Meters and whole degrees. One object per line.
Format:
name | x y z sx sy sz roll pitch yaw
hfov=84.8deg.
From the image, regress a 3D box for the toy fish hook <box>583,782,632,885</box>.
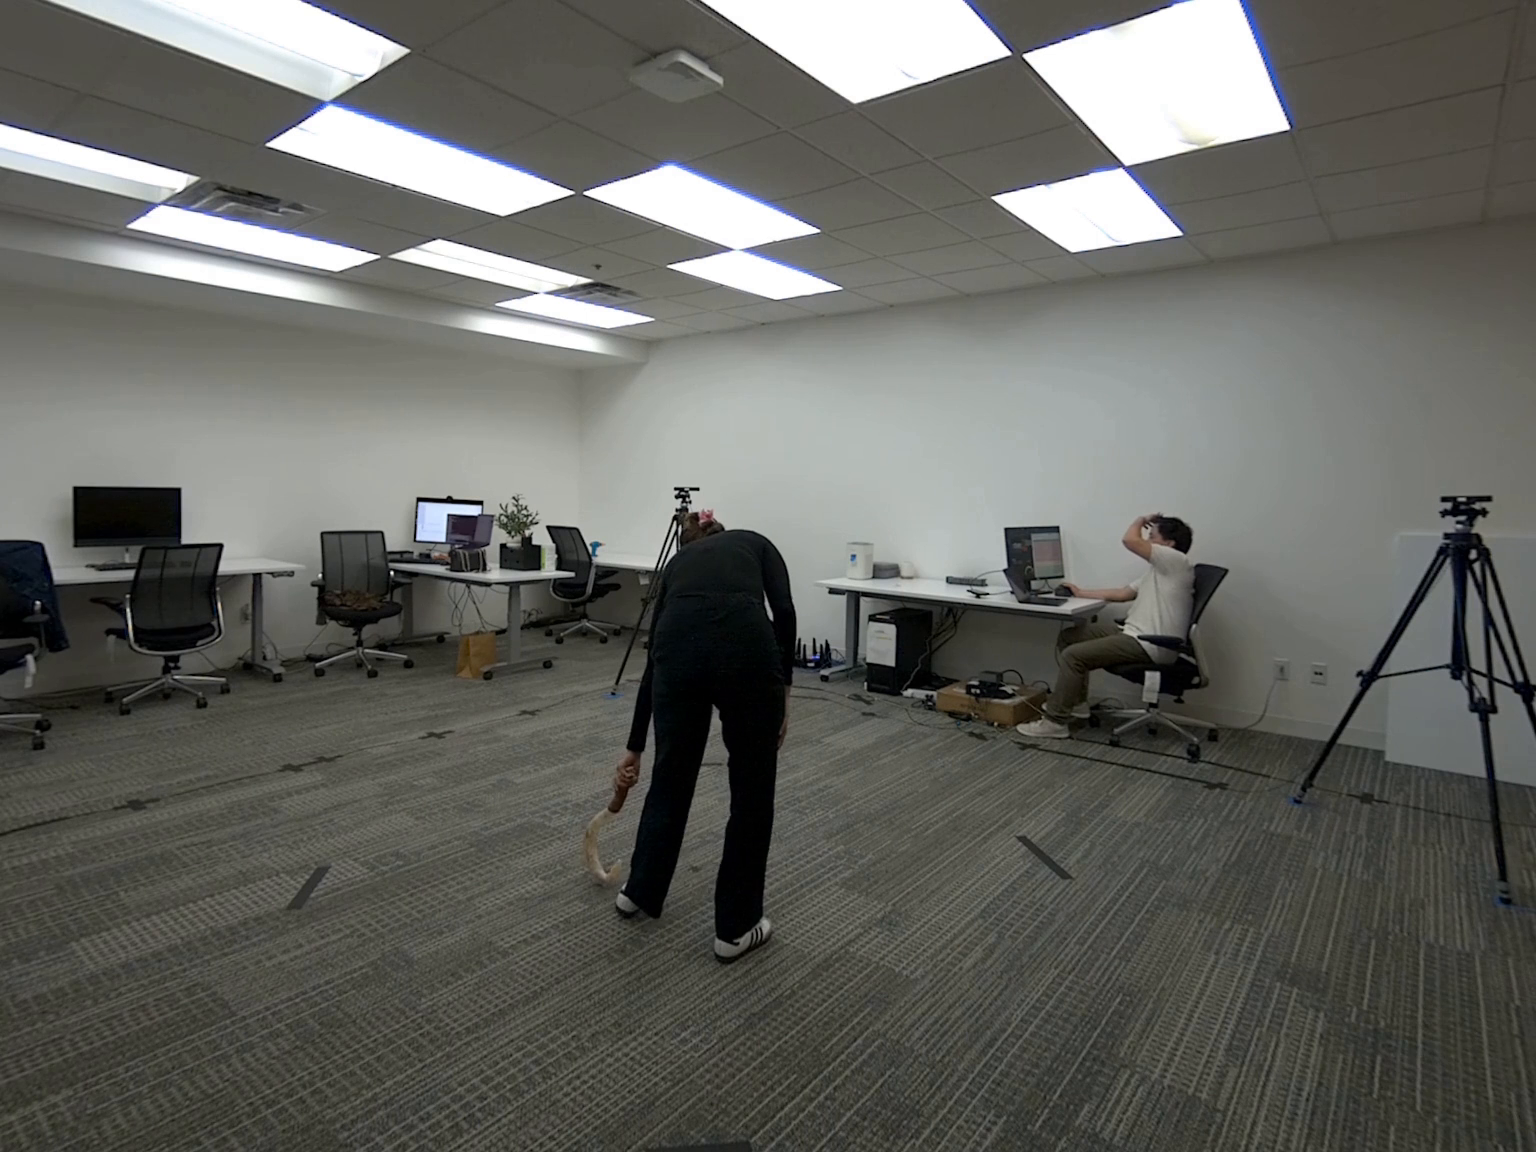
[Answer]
toy fish hook | -0.530 0.852 2.880 0.047 0.501 0.233 -5 44 -41
